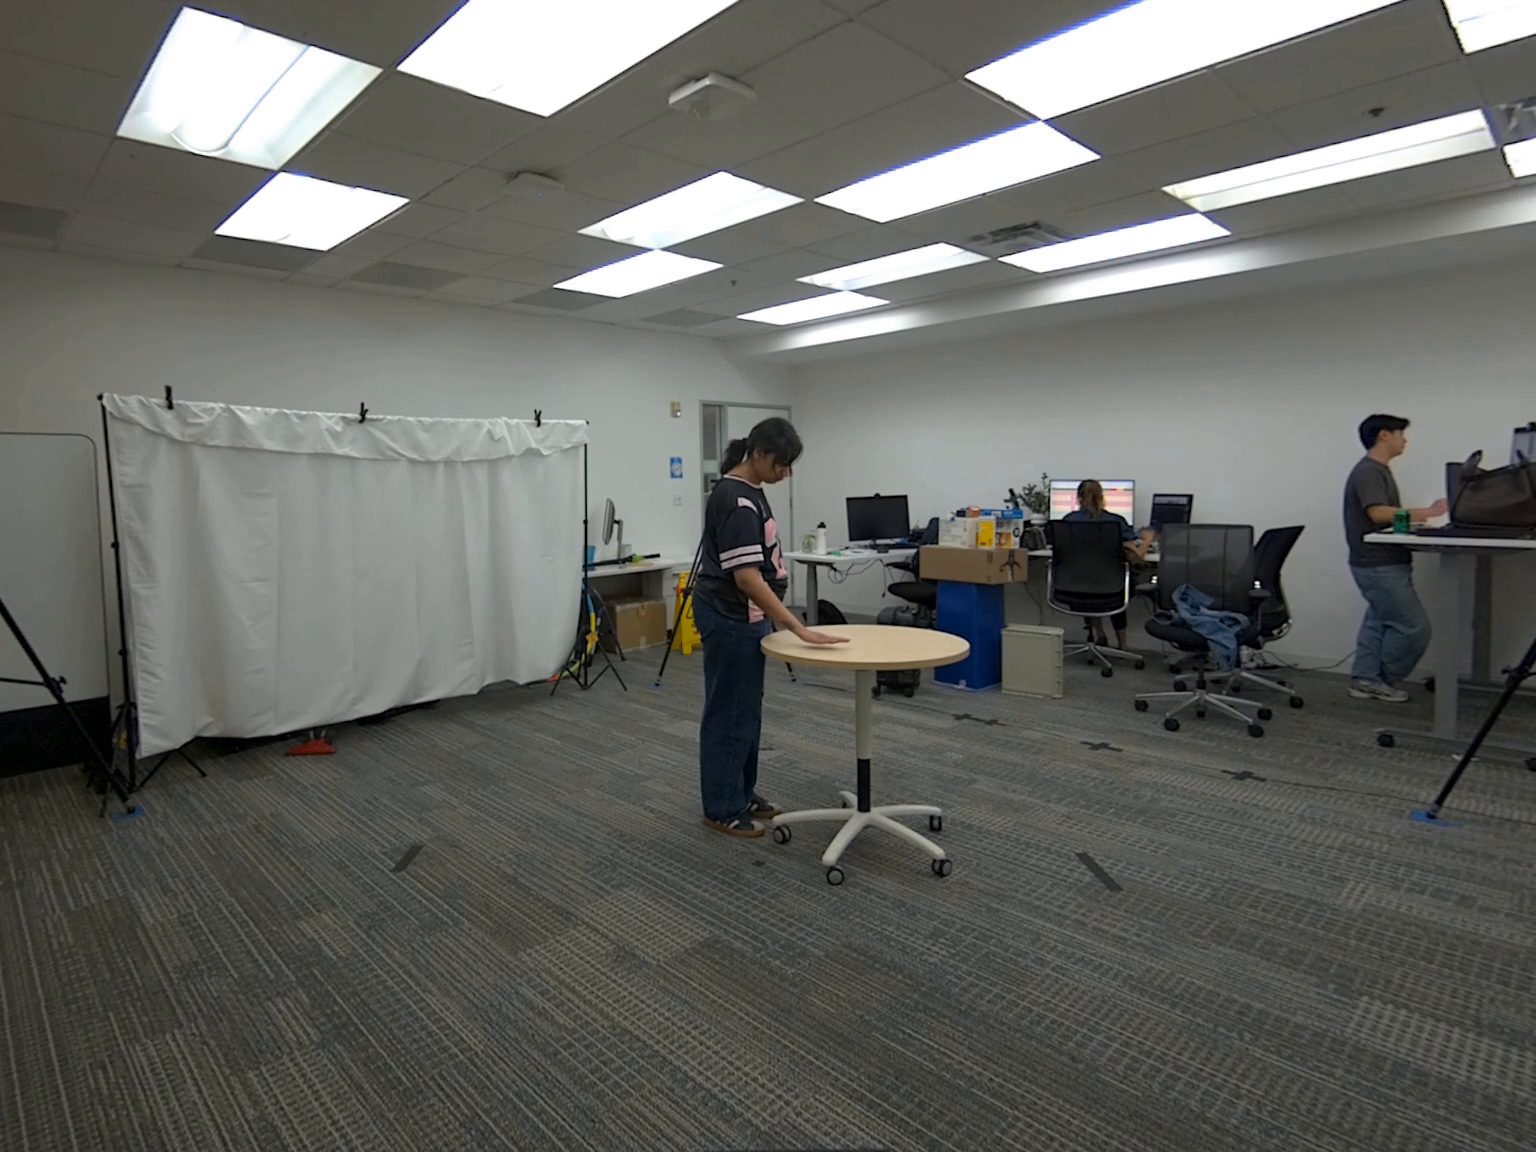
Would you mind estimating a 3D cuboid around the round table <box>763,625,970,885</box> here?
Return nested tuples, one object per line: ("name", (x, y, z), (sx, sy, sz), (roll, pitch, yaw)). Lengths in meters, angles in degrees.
("round table", (0.372, 0.636, 3.222), (0.784, 0.784, 0.789), (-1, 5, -2))
